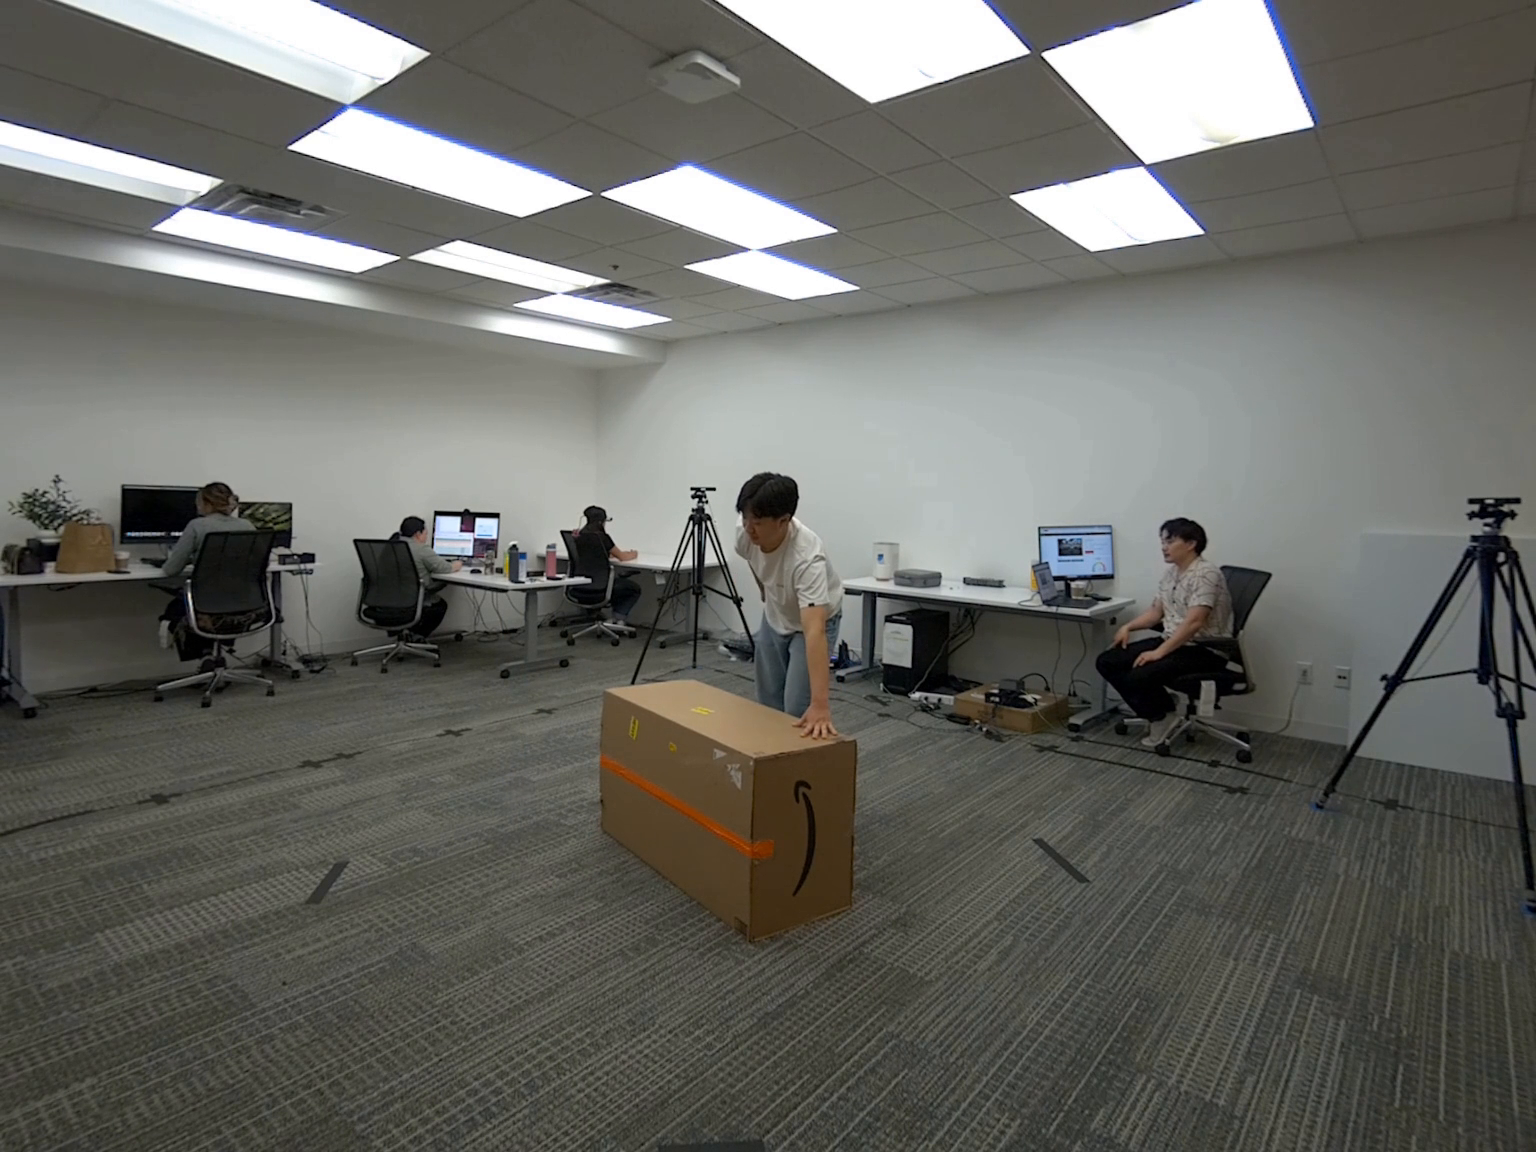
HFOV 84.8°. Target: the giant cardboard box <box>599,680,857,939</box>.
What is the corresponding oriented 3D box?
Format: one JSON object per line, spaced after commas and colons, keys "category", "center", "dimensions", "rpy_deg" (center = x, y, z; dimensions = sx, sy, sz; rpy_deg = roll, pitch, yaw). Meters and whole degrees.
{"category": "giant cardboard box", "center": [-0.204, 0.779, 3.116], "dimensions": [0.413, 0.576, 1.060], "rpy_deg": [-1, 5, -36]}
